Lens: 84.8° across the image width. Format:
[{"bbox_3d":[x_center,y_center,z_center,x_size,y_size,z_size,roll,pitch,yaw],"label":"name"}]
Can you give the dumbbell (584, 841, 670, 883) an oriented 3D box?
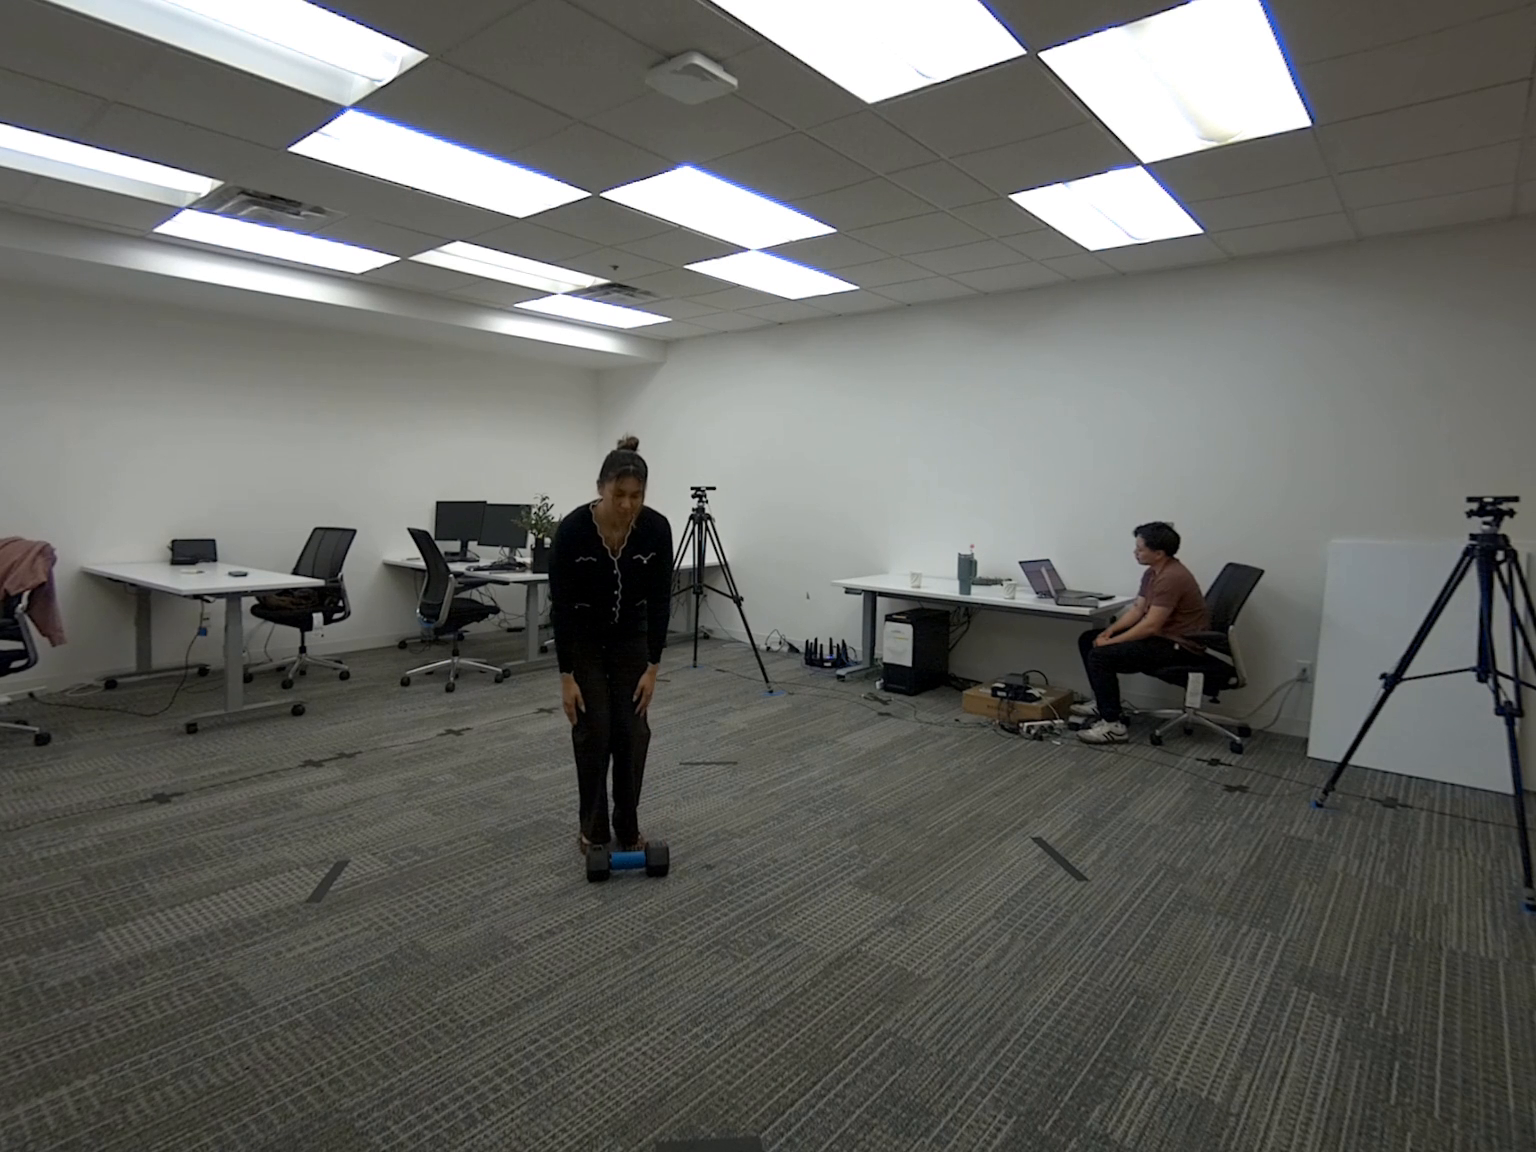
[{"bbox_3d":[-0.513,1.014,3.035,0.289,0.120,0.112,0,34,-13],"label":"dumbbell"}]
